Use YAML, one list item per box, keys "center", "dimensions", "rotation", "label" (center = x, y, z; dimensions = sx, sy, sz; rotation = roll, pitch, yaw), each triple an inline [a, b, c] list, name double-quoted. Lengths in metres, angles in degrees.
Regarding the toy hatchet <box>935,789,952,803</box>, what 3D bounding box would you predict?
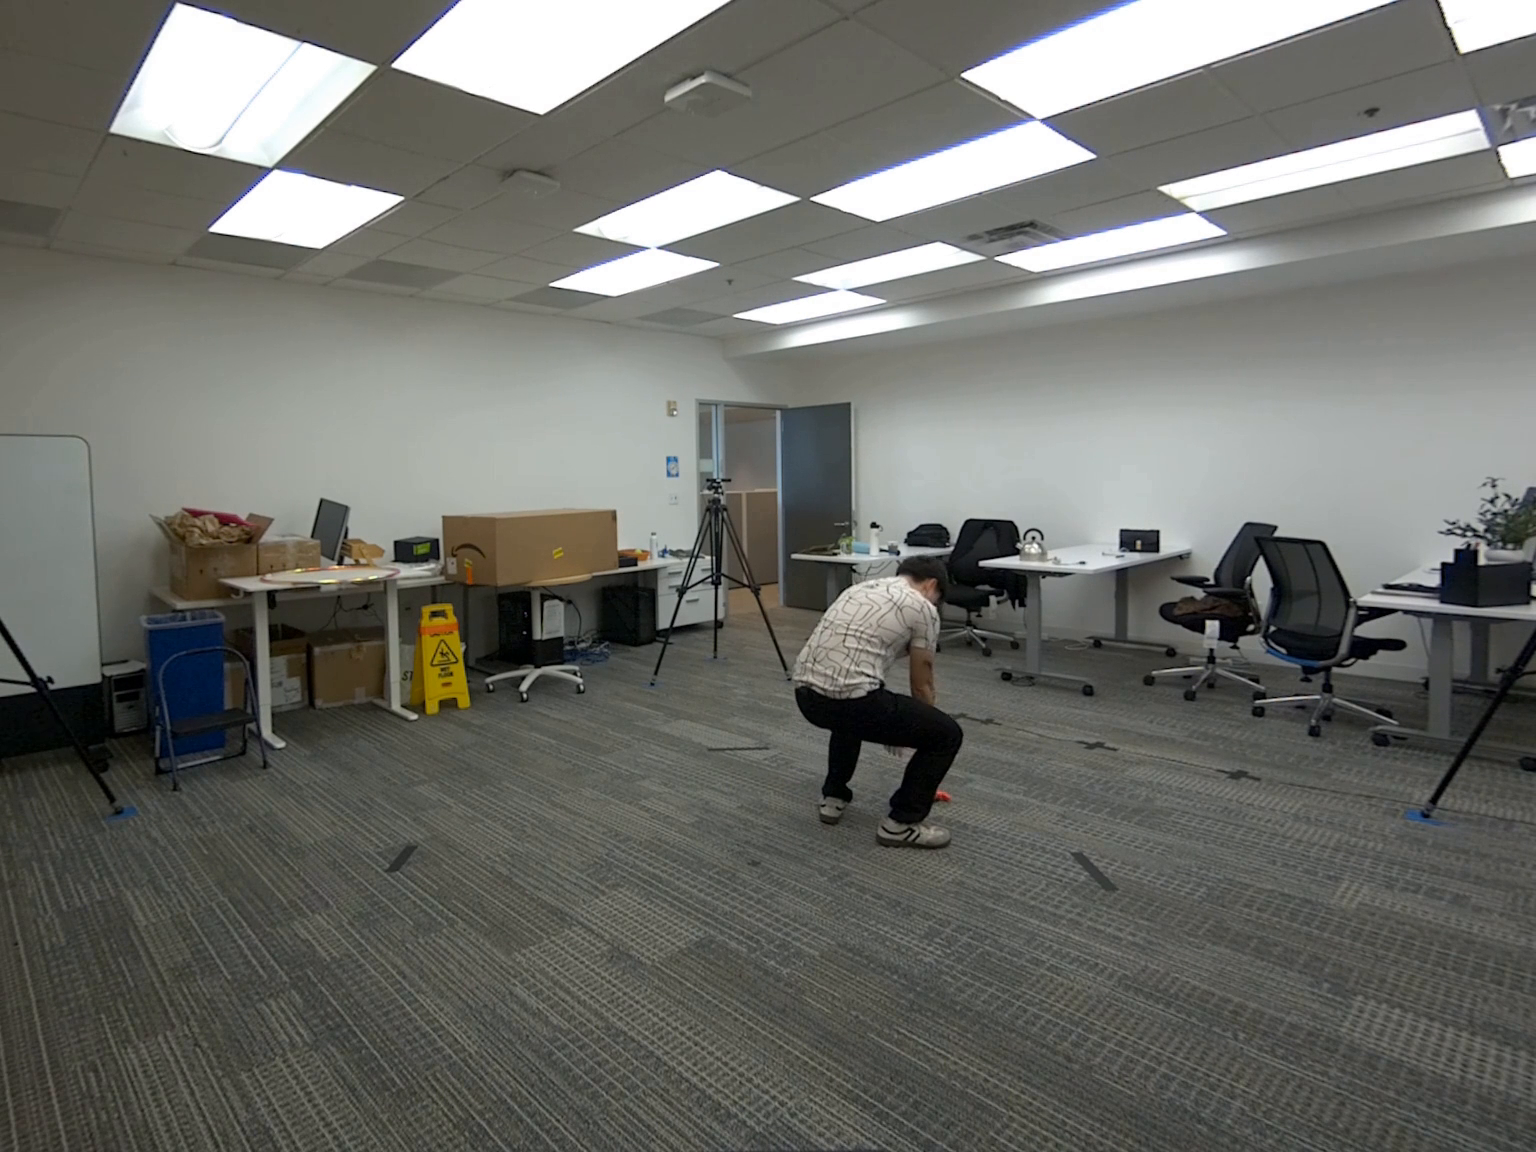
- center: [0.643, 0.957, 3.677]
  dimensions: [0.267, 0.029, 0.133]
  rotation: [-4, 6, -13]
  label: "toy hatchet"
